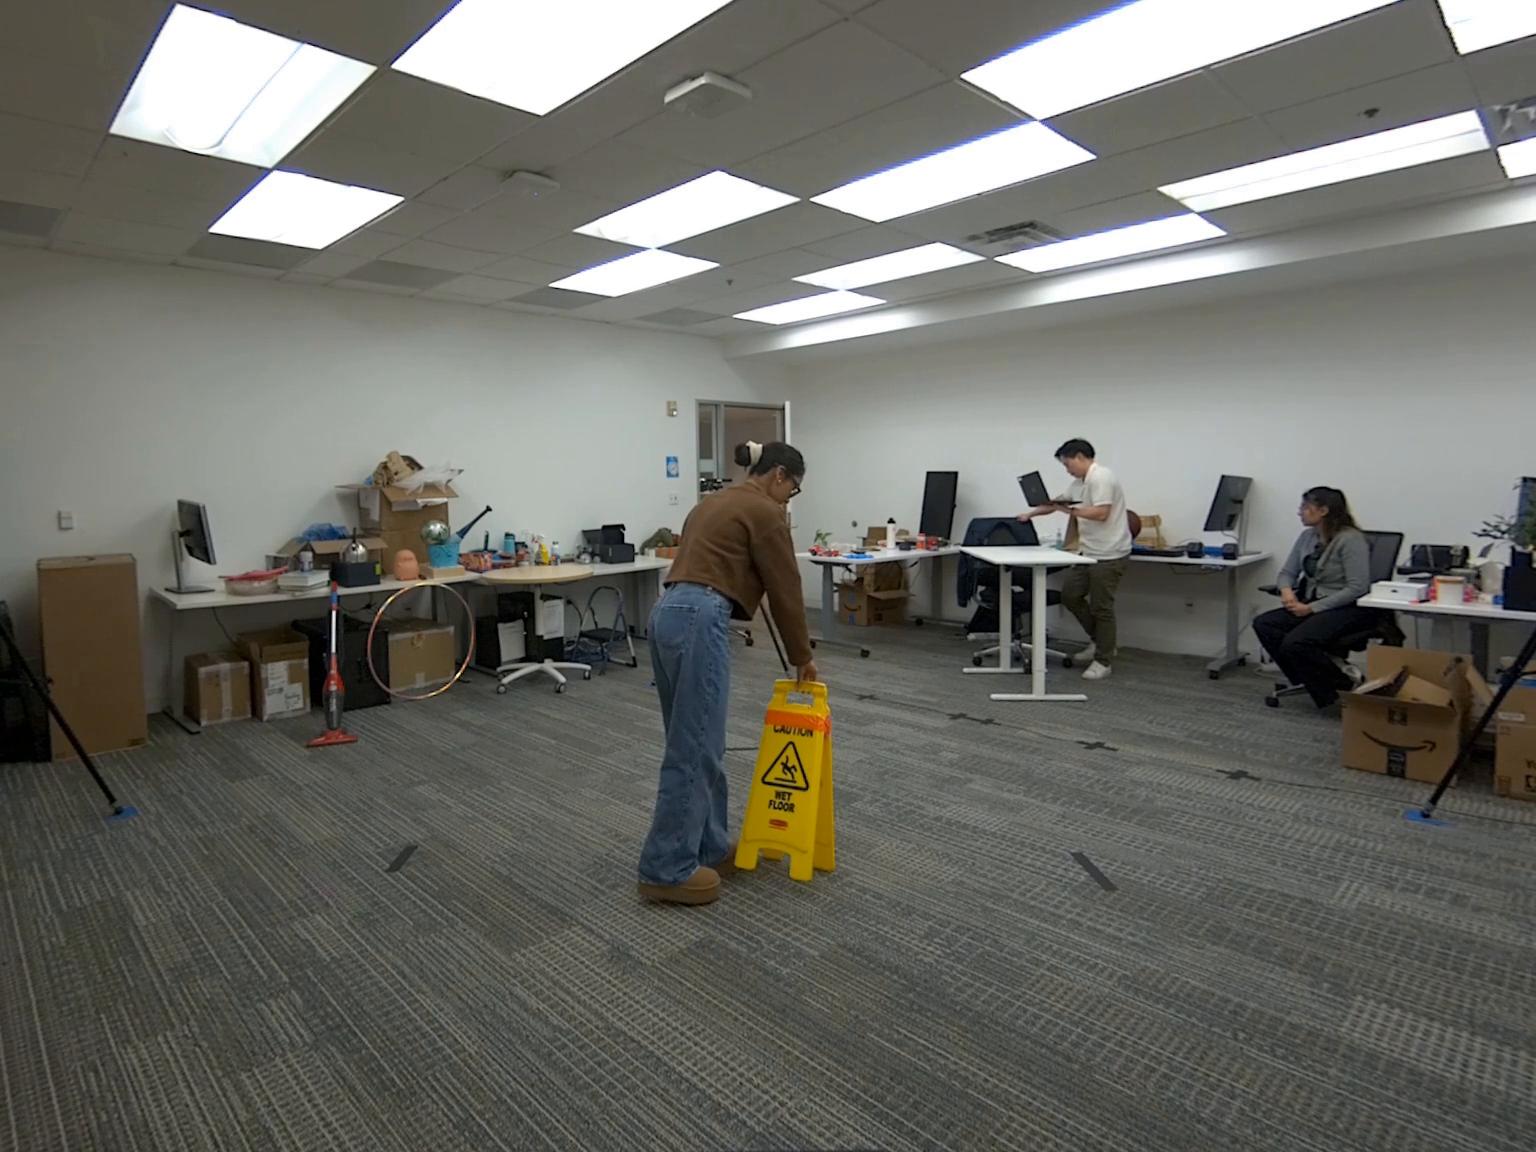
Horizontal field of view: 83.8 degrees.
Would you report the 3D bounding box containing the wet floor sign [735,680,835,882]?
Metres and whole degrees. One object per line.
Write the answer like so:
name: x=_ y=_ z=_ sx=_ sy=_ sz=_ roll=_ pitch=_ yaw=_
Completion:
wet floor sign: x=0.084 y=0.699 z=3.039 sx=0.288 sy=0.652 sz=0.281 roll=0 pitch=-11 yaw=24
